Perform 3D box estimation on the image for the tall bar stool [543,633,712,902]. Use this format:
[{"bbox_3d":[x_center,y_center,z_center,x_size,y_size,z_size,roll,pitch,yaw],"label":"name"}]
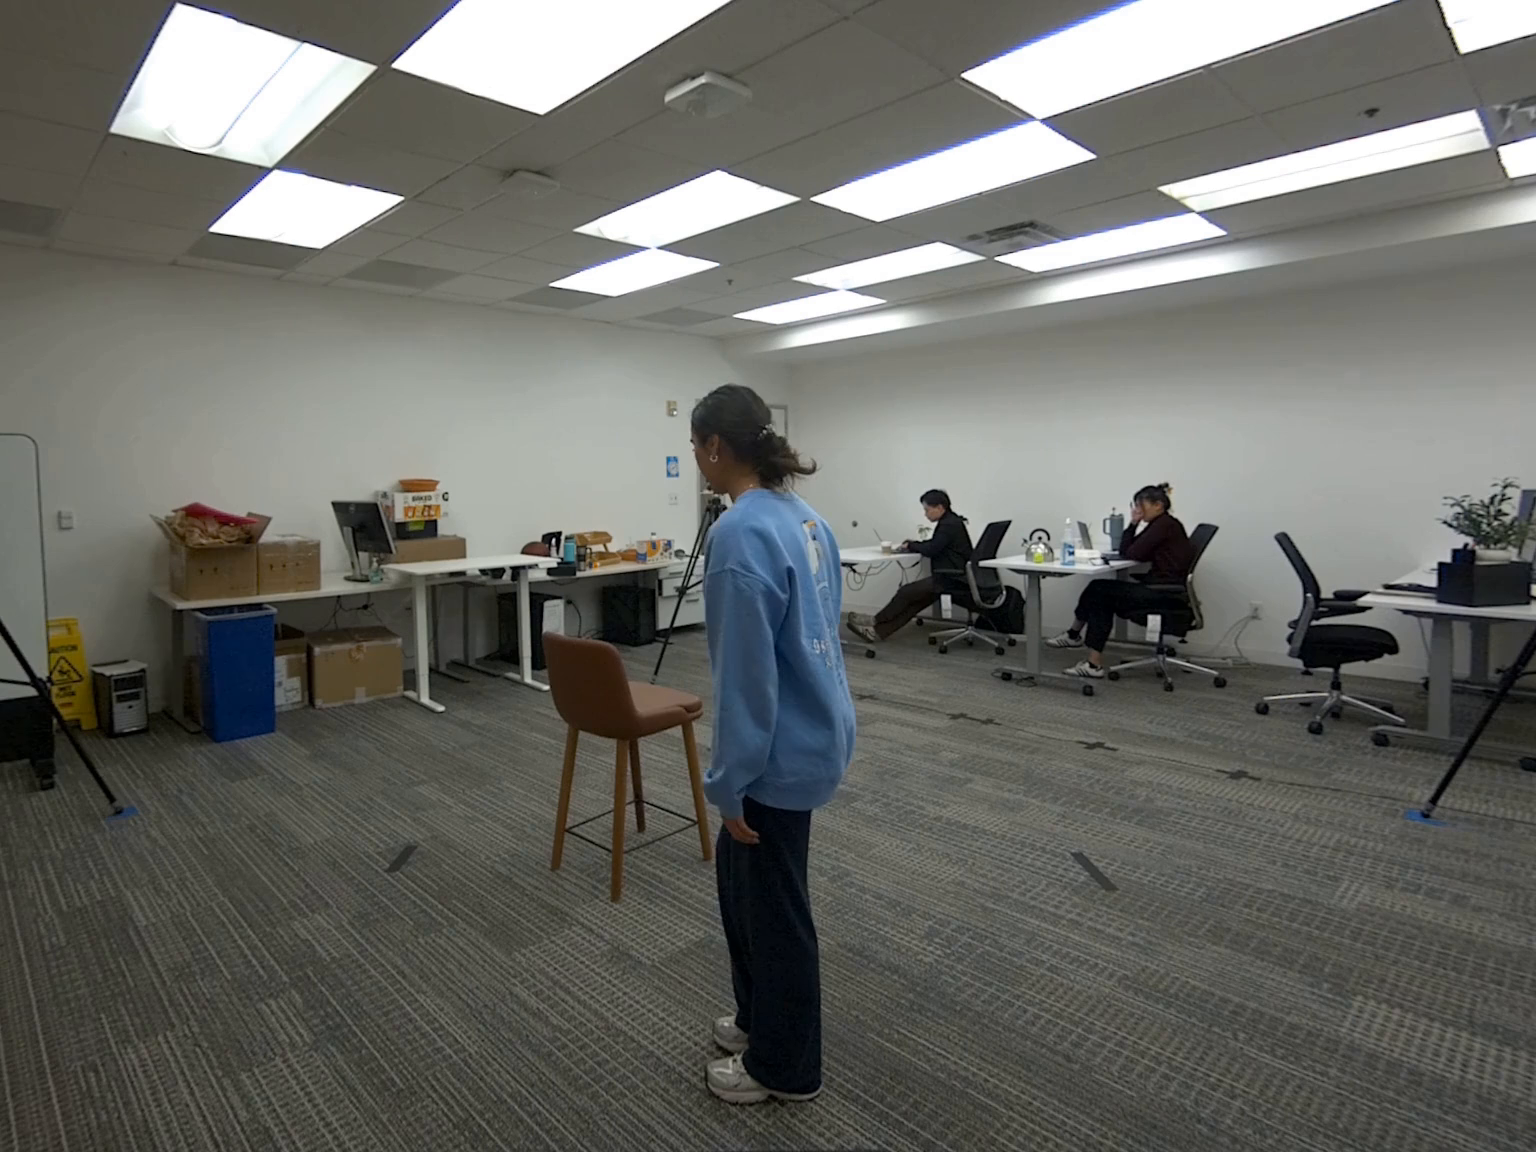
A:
[{"bbox_3d":[-0.515,0.617,3.089,0.470,0.885,0.456,3,8,43],"label":"tall bar stool"}]
